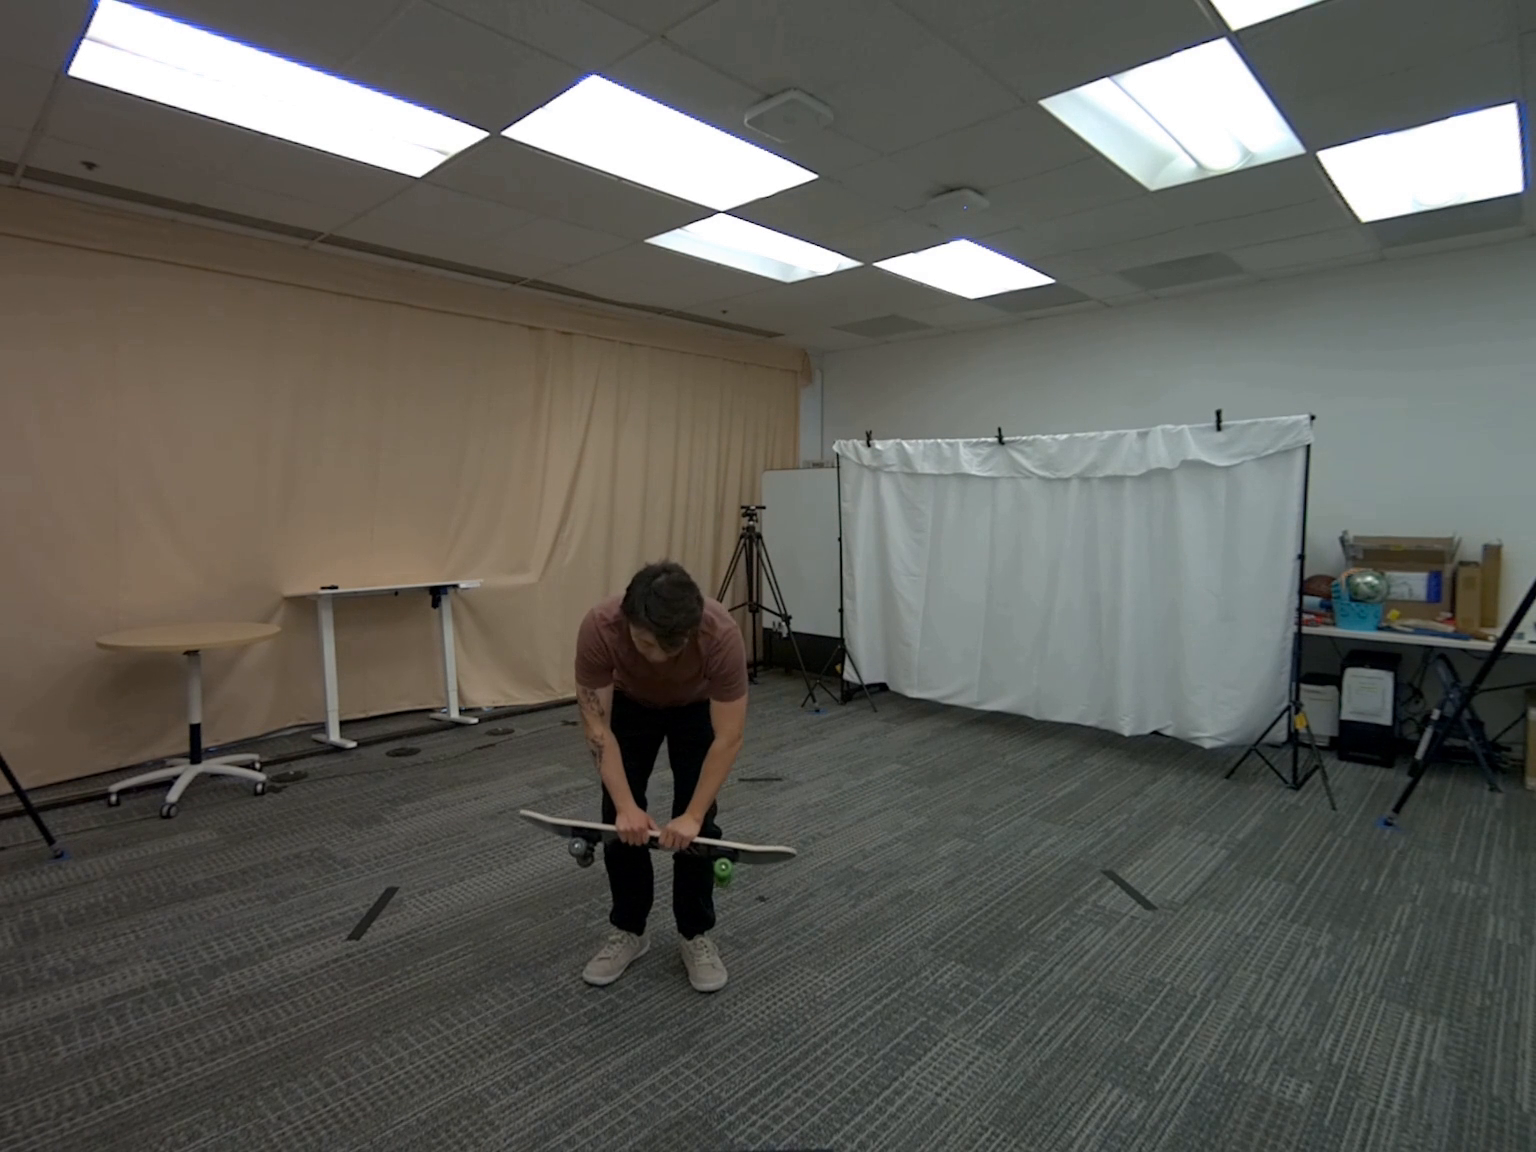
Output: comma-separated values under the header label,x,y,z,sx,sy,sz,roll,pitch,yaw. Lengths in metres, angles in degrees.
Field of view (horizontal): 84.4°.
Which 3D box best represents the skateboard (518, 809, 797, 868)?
label,x,y,z,sx,sy,sz,roll,pitch,yaw
skateboard,-0.312,0.774,2.346,0.789,0.111,0.190,7,-30,3
